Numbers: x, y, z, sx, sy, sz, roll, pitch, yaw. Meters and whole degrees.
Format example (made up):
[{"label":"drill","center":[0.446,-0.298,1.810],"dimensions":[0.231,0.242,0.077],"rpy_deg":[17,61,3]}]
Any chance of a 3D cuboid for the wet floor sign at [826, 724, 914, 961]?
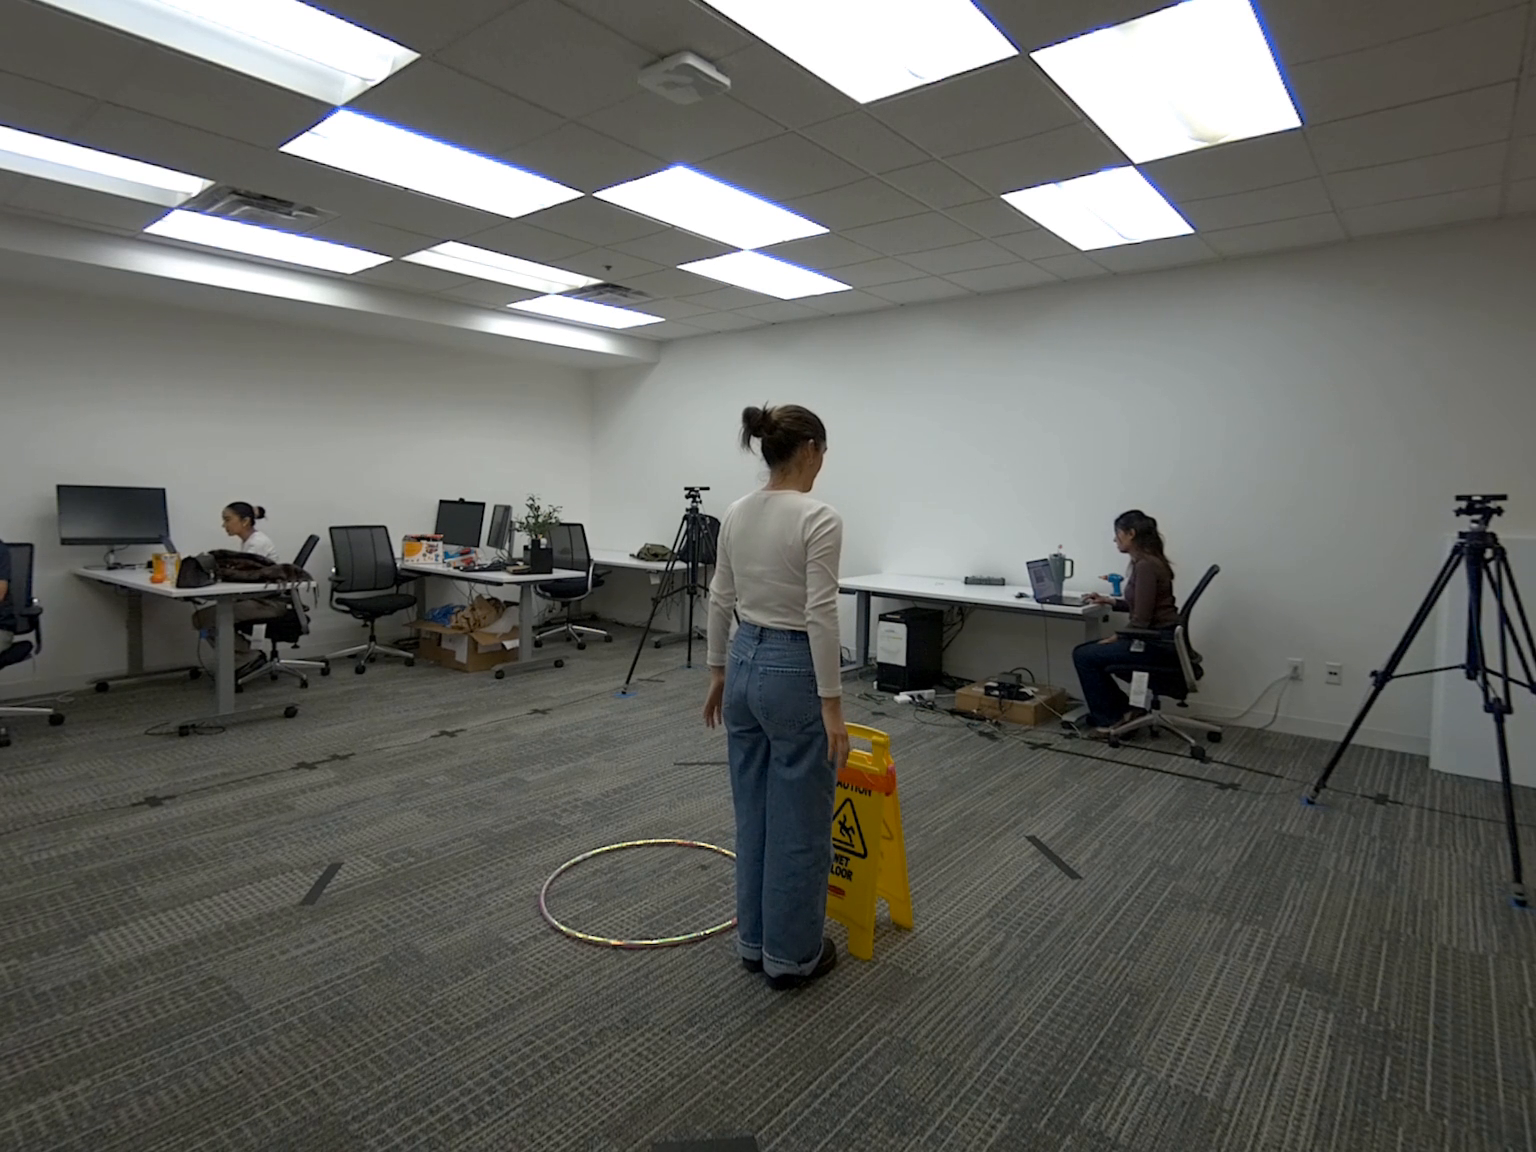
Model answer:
[{"label":"wet floor sign","center":[0.275,0.792,2.686],"dimensions":[0.292,0.644,0.281],"rpy_deg":[5,4,40]}]
